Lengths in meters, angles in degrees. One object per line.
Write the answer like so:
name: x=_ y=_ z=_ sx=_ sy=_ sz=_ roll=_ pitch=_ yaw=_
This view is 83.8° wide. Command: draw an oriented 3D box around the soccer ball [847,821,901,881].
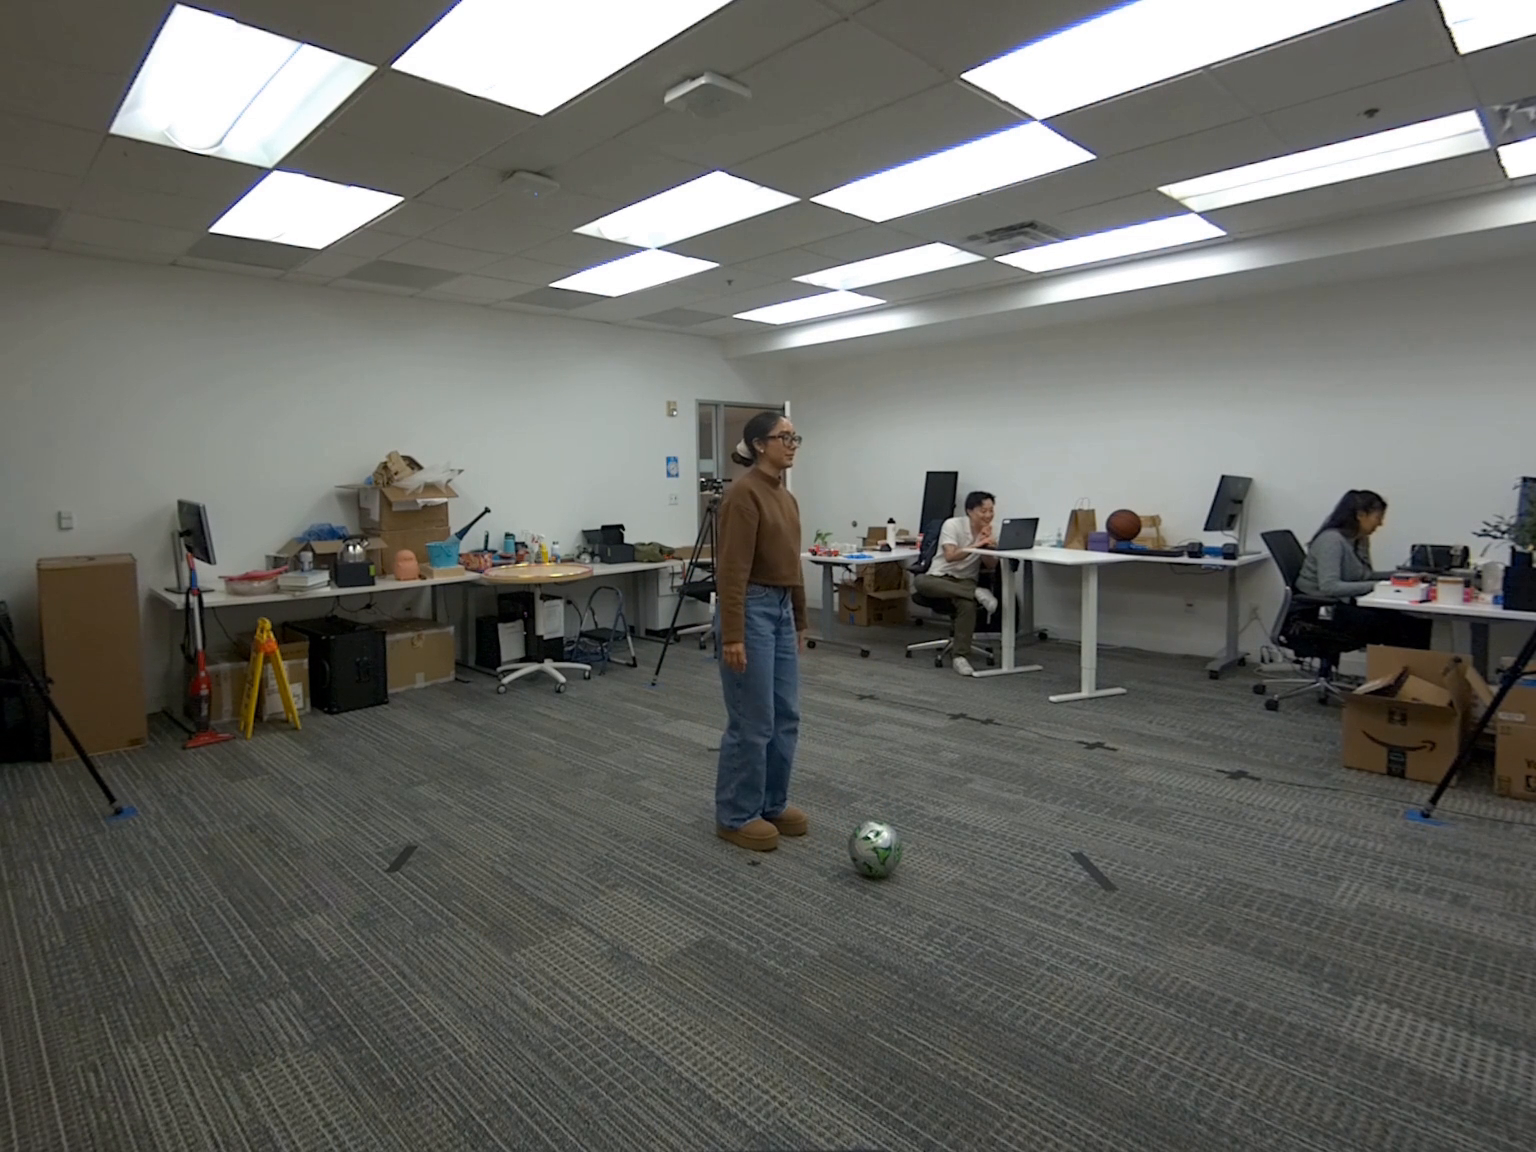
soccer ball: x=0.379 y=0.957 z=3.000 sx=0.187 sy=0.187 sz=0.188 roll=-1 pitch=5 yaw=-2
